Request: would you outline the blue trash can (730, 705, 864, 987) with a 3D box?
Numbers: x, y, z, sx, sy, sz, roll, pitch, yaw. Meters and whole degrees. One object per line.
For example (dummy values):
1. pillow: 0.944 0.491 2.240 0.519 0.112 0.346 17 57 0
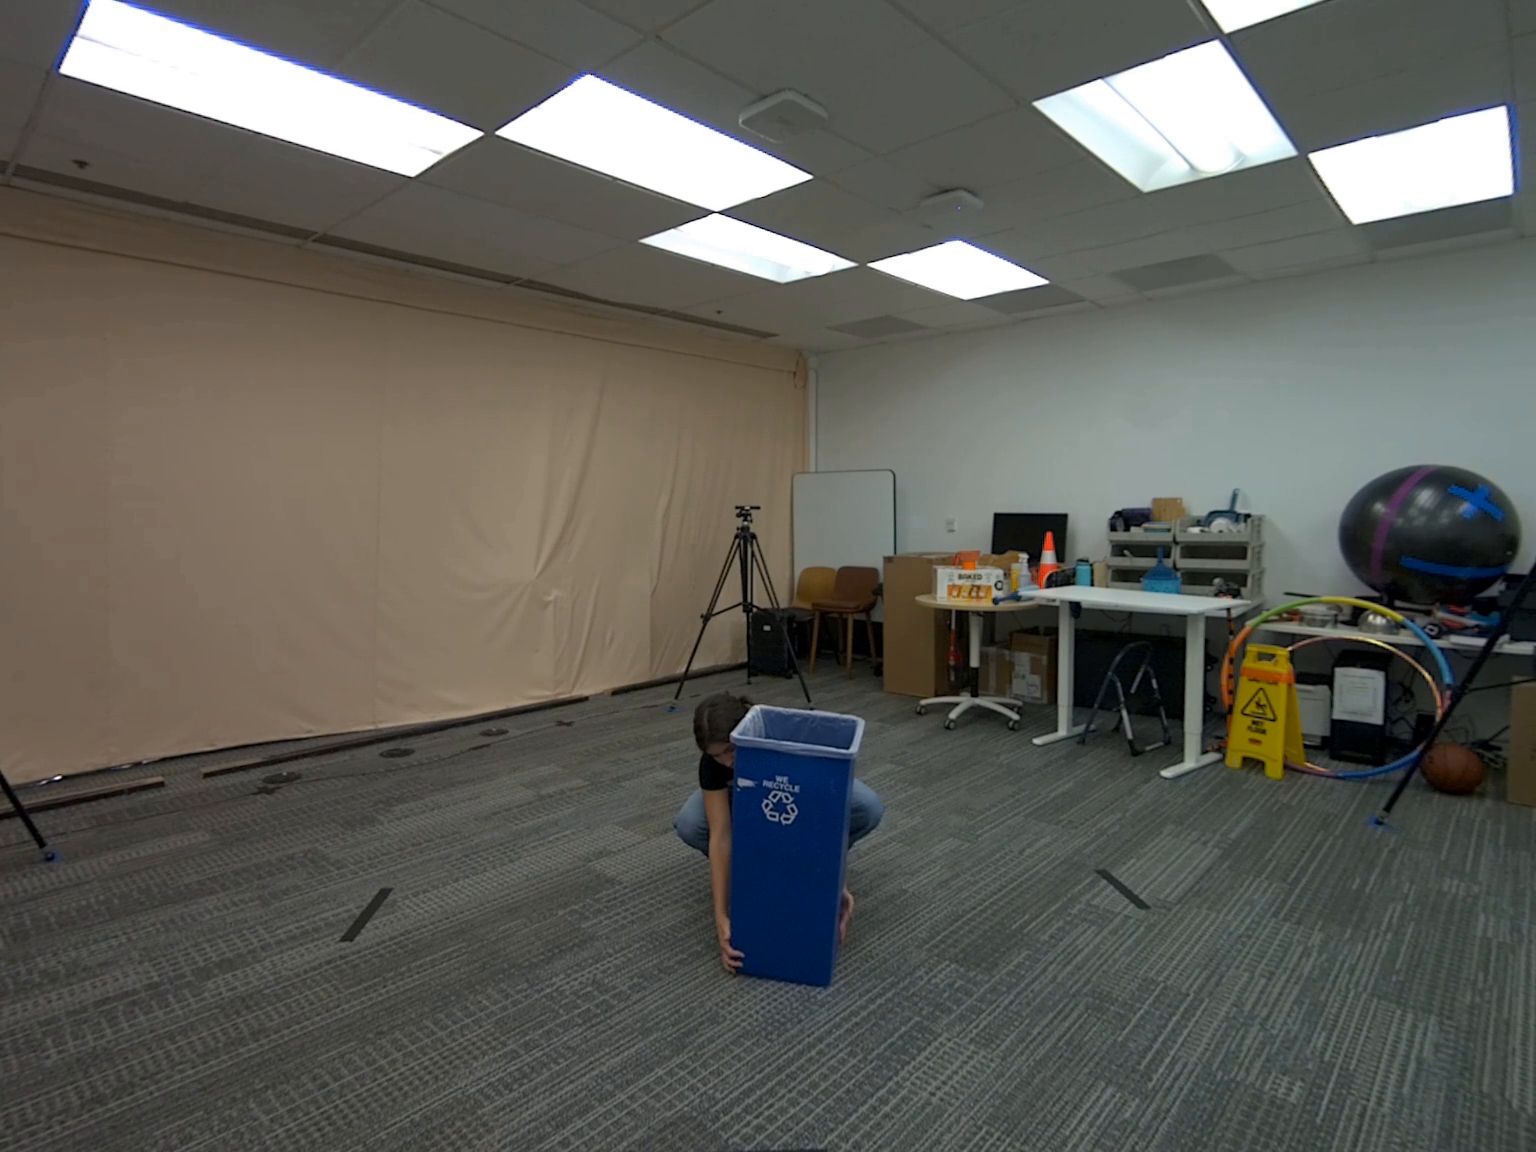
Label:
1. blue trash can: 0.089 0.804 2.577 0.380 0.711 0.373 3 5 13
